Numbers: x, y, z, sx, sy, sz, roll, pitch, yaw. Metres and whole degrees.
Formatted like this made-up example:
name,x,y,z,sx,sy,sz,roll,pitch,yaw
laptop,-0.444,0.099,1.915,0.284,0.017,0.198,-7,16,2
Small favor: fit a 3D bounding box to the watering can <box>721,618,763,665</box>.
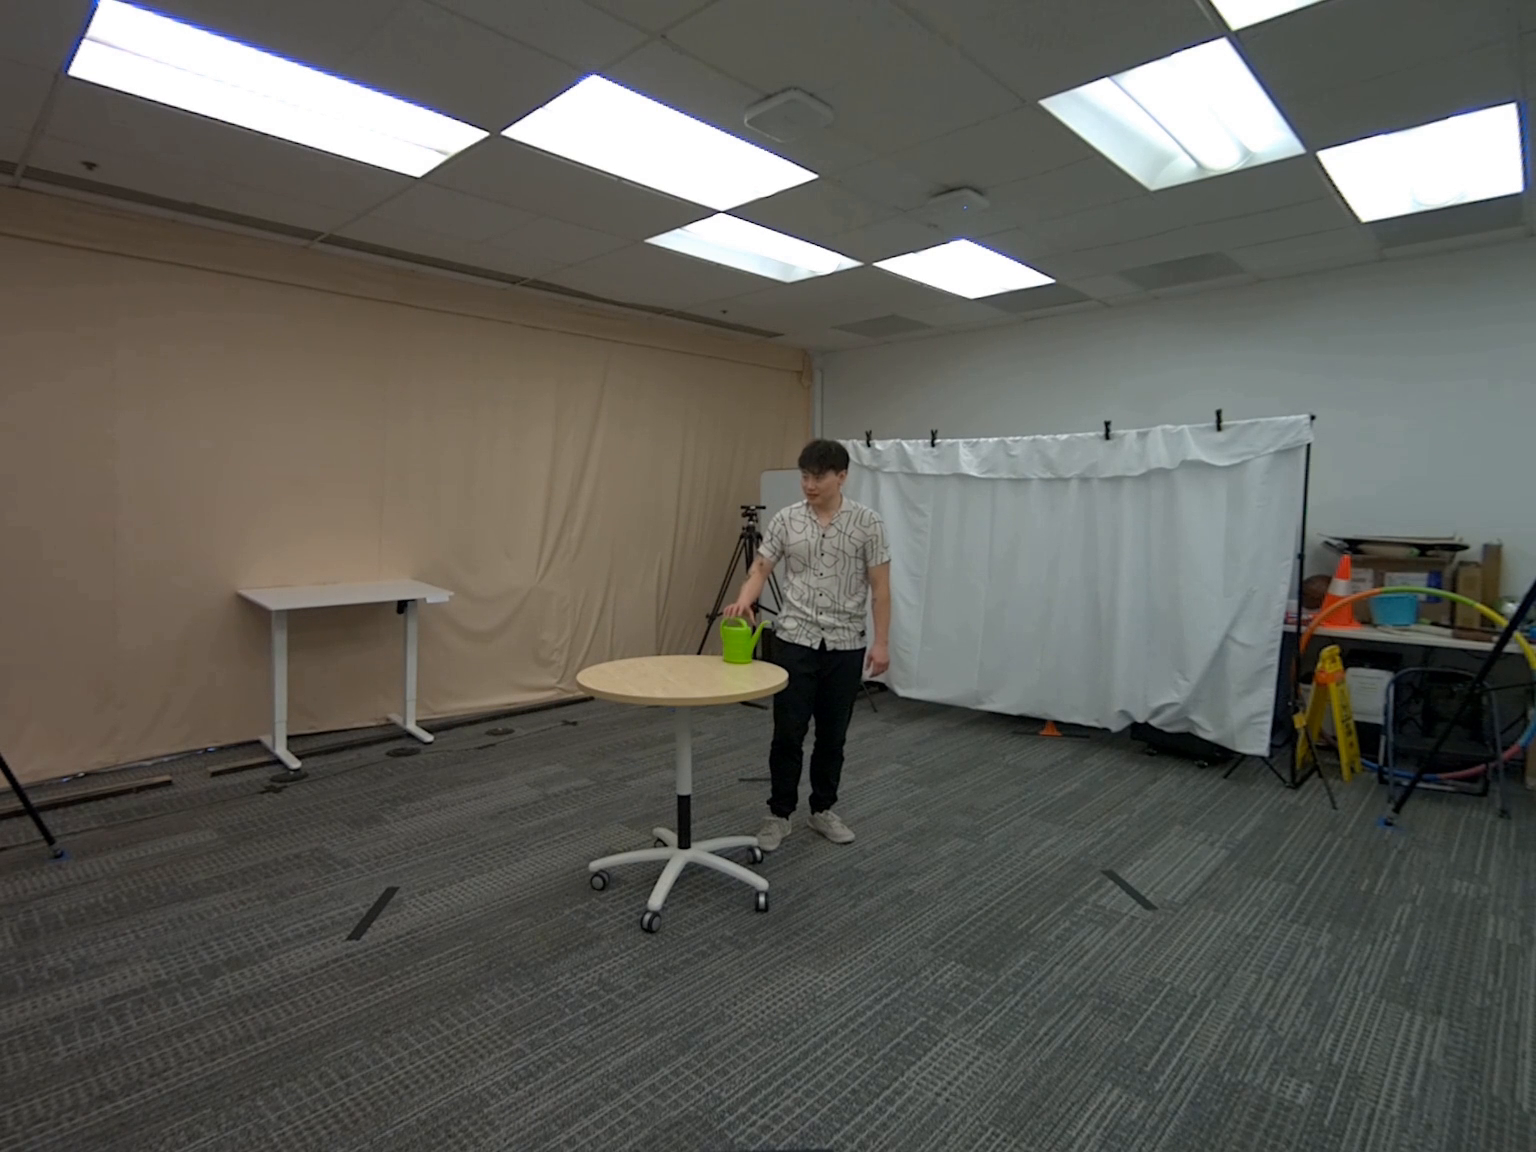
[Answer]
name,x,y,z,sx,sy,sz,roll,pitch,yaw
watering can,-0.095,0.252,3.254,0.095,0.176,0.286,-6,5,-29
